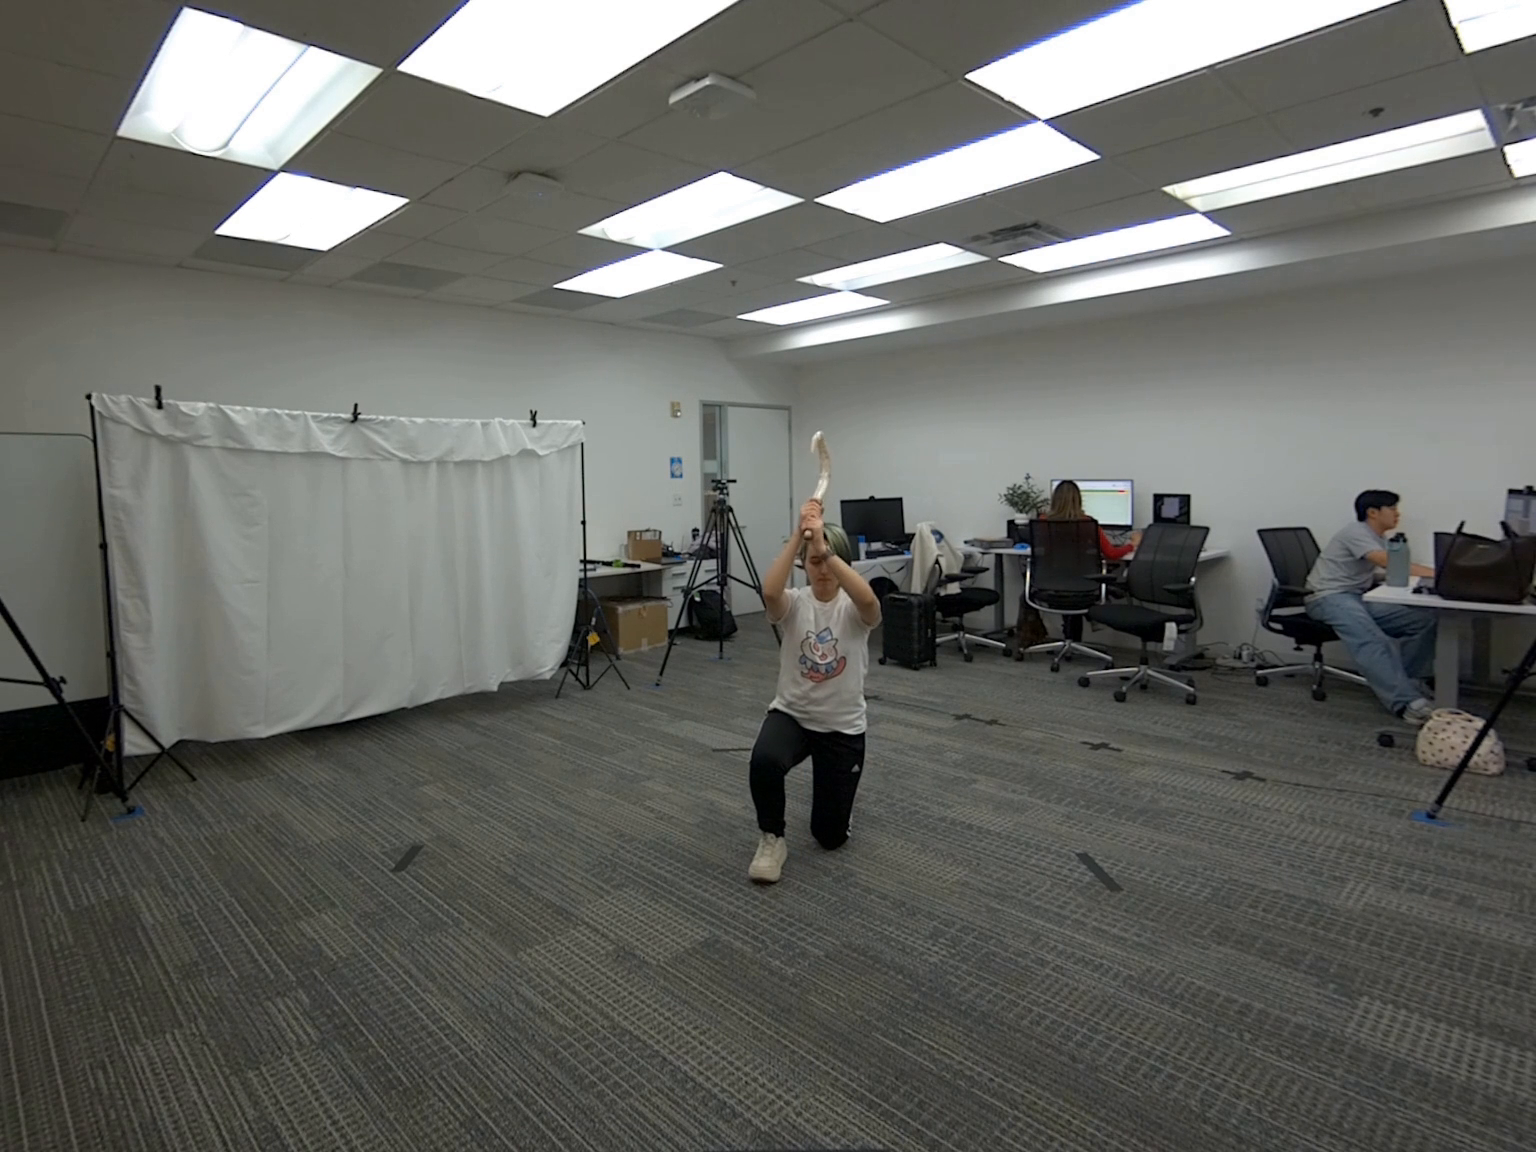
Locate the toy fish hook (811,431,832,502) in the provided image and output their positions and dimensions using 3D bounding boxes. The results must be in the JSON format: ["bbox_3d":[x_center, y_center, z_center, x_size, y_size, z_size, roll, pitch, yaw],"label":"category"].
[{"bbox_3d":[0.170,-0.325,3.043,0.049,0.217,0.515,-7,39,19],"label":"toy fish hook"}]
